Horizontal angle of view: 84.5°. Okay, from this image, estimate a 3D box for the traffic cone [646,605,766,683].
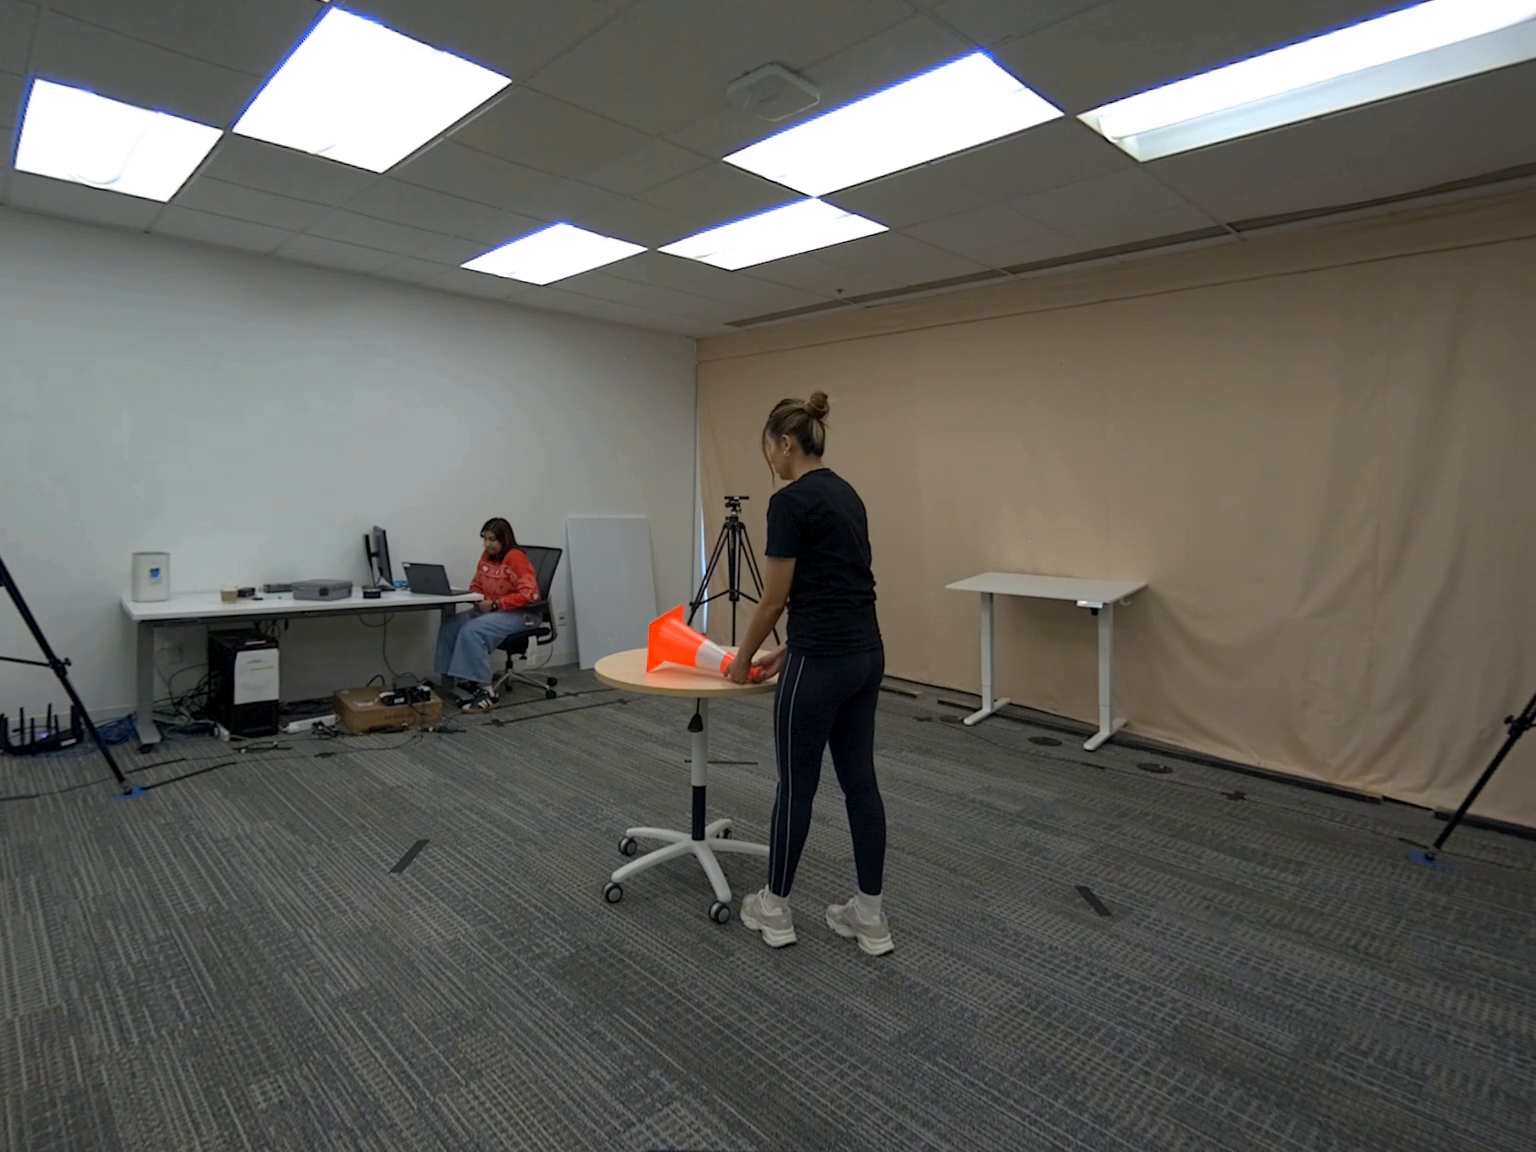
[{"bbox_3d":[-0.203,0.280,2.848,0.393,0.200,0.203,21,28,26],"label":"traffic cone"}]
